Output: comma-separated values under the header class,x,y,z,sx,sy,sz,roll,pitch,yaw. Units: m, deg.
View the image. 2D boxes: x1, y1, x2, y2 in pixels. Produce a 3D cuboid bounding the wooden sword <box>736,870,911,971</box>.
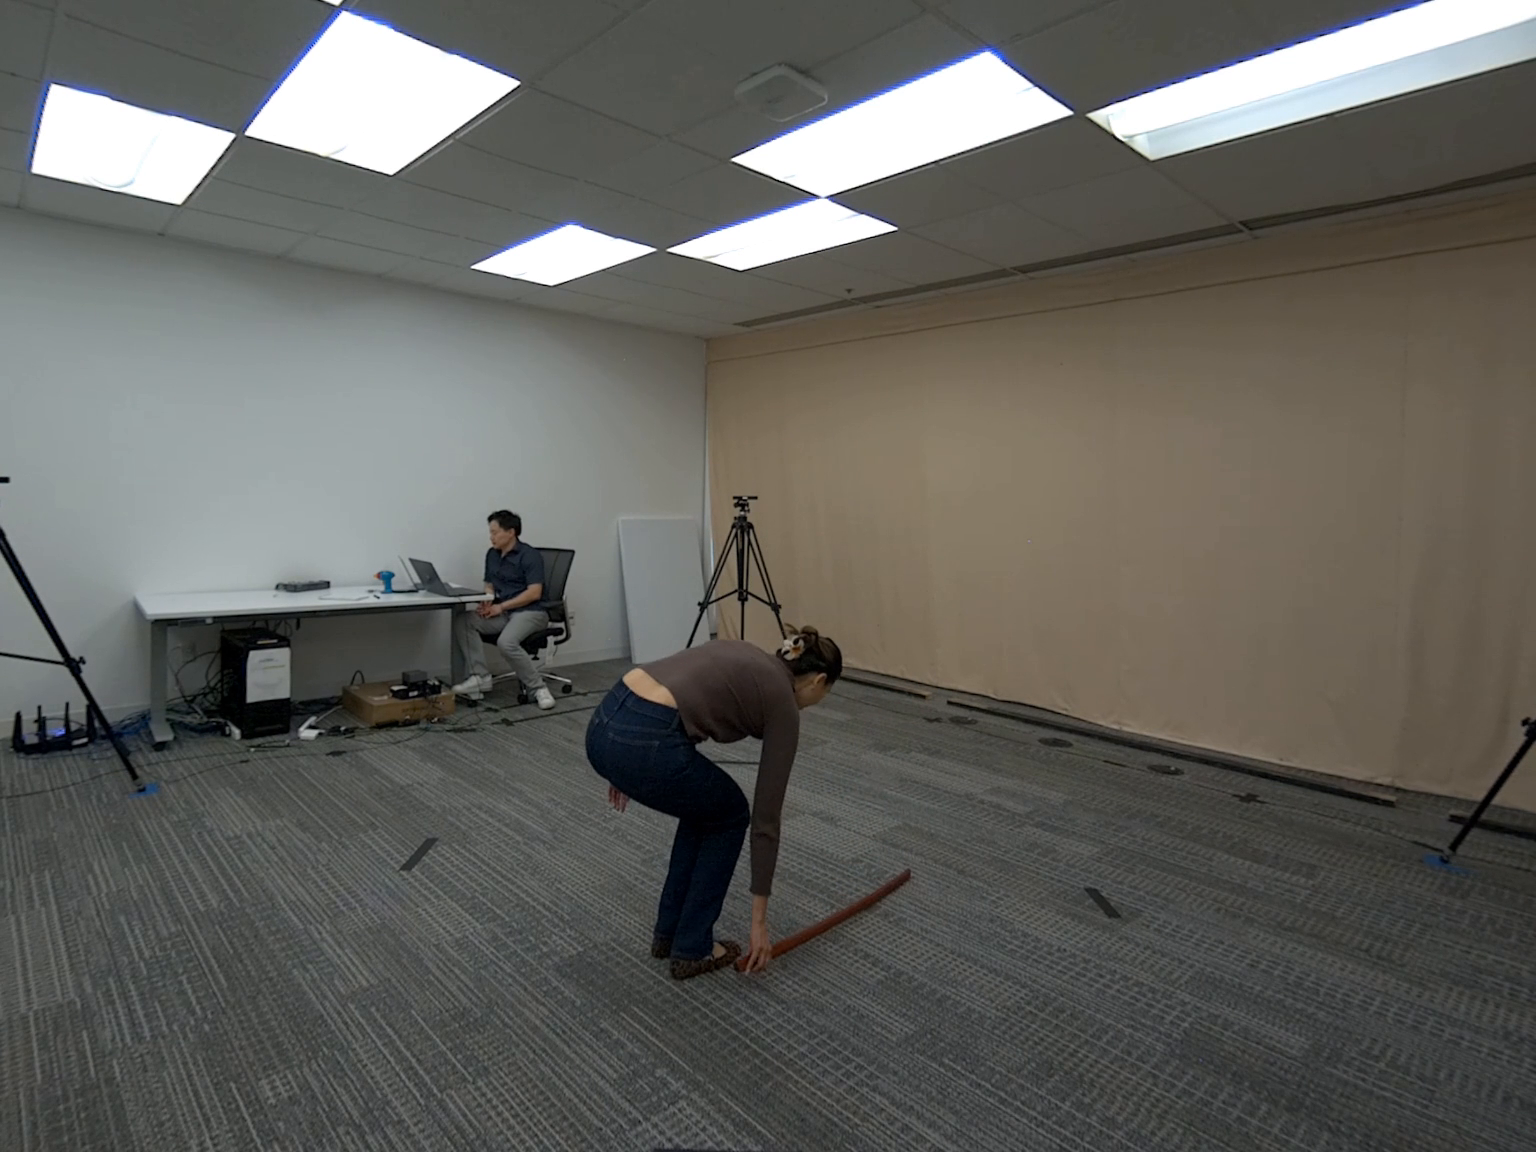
class,x,y,z,sx,sy,sz,roll,pitch,yaw
wooden sword,0.223,1.096,2.735,1.000,0.052,0.024,1,-42,-52
